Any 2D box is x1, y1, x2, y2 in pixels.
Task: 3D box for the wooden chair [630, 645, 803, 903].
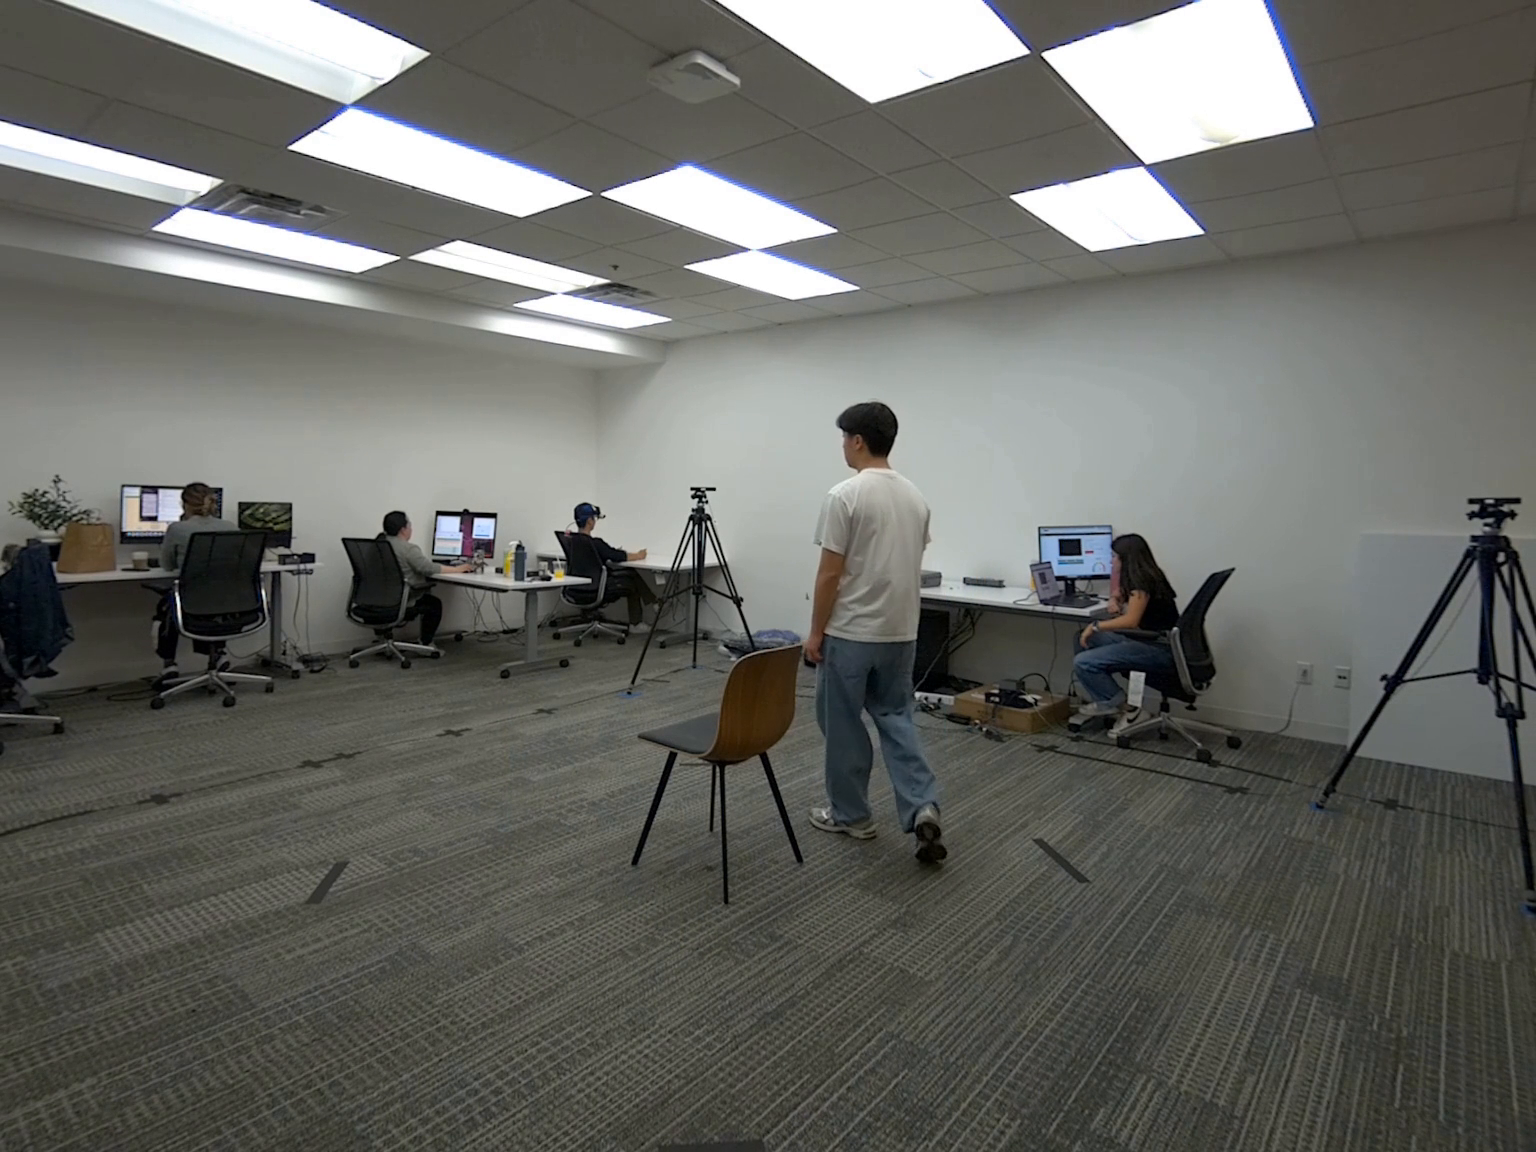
[{"bbox_3d":[-0.193,0.638,3.126,0.542,0.873,0.464,9,7,38],"label":"wooden chair"}]
